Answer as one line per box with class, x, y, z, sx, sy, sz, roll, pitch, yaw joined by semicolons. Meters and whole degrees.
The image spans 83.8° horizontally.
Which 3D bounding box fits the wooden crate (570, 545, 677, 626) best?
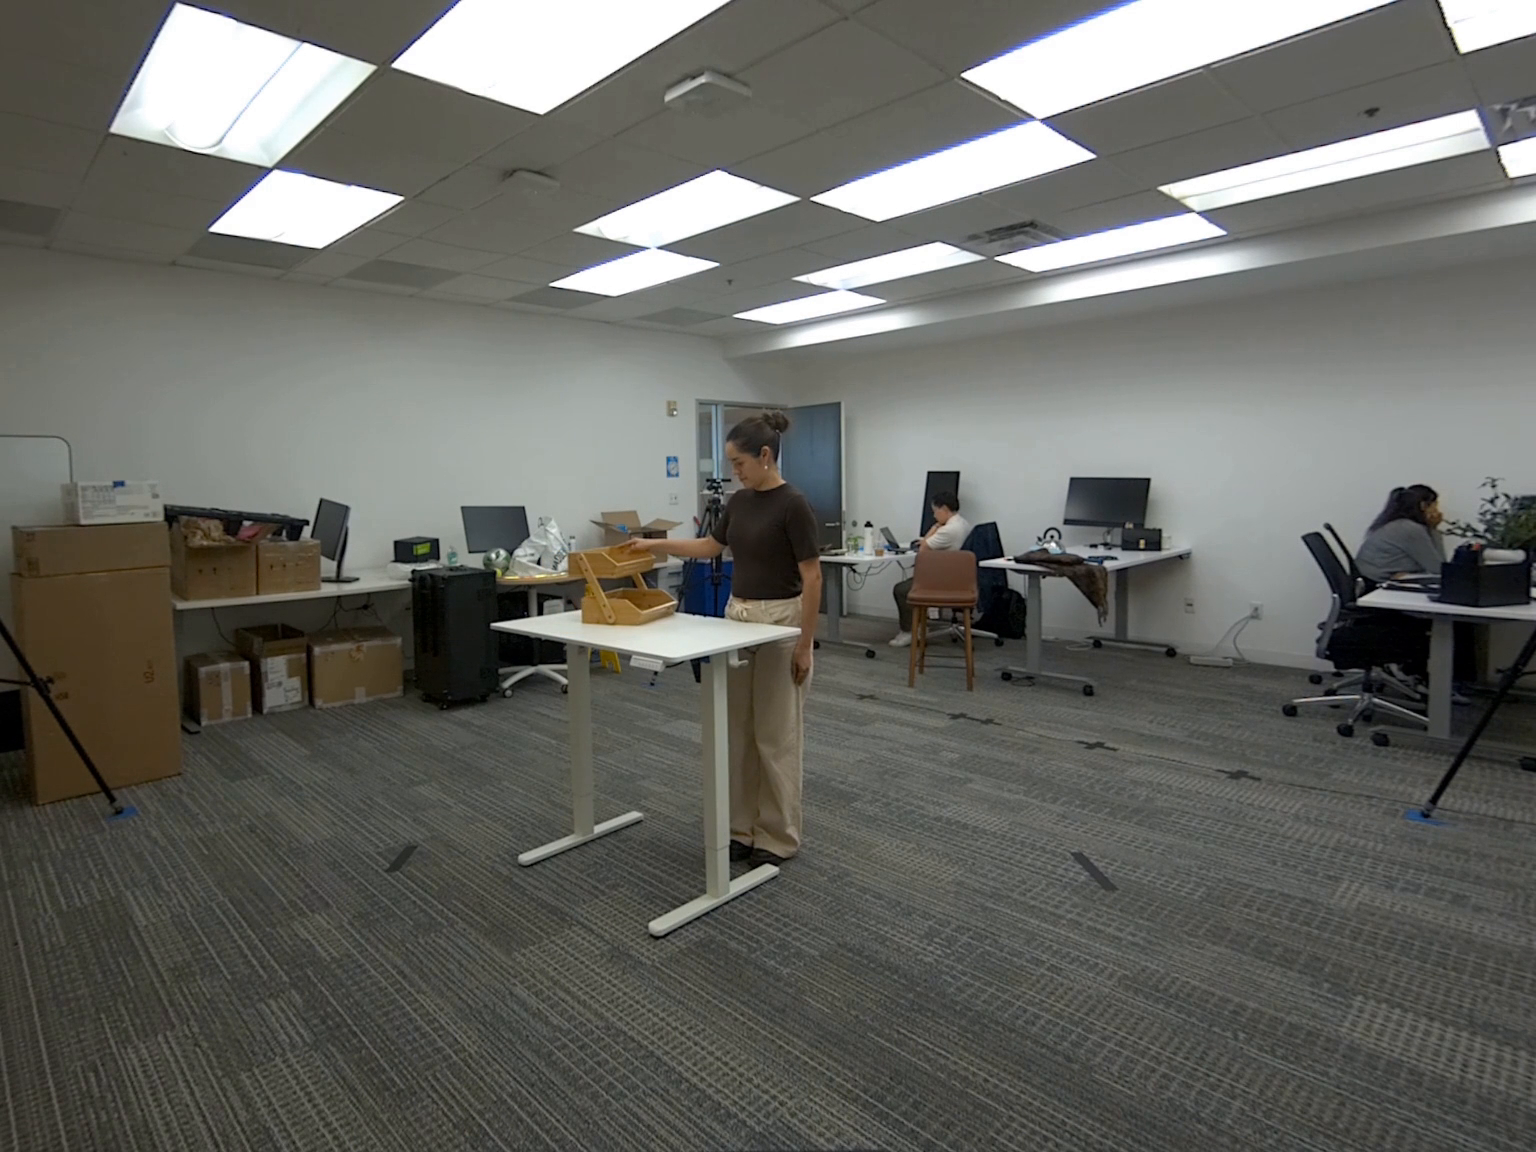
wooden crate;-0.537;0.027;3.221;0.308;0.272;0.319;0;5;21
